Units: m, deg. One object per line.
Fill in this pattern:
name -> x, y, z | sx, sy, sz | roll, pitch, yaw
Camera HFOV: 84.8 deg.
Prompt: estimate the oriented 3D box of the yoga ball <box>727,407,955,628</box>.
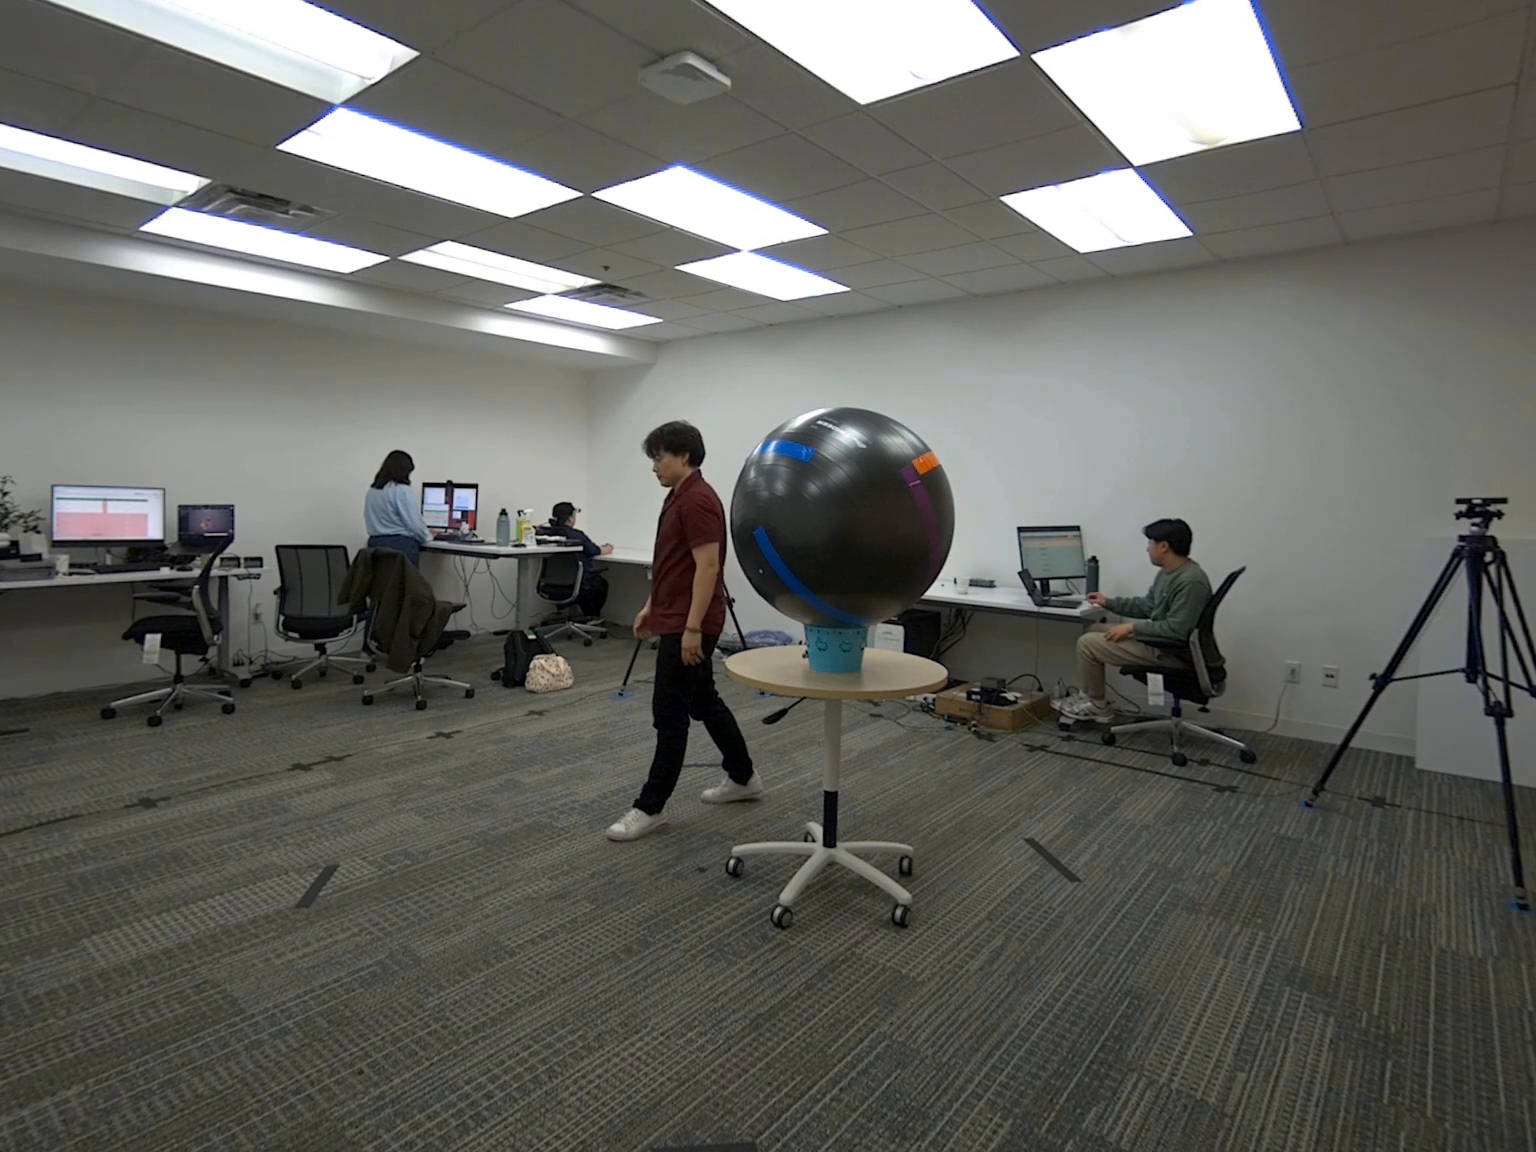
yoga ball -> 0.241, -0.191, 2.909 | 0.757, 0.756, 0.761 | 1, 4, -2
